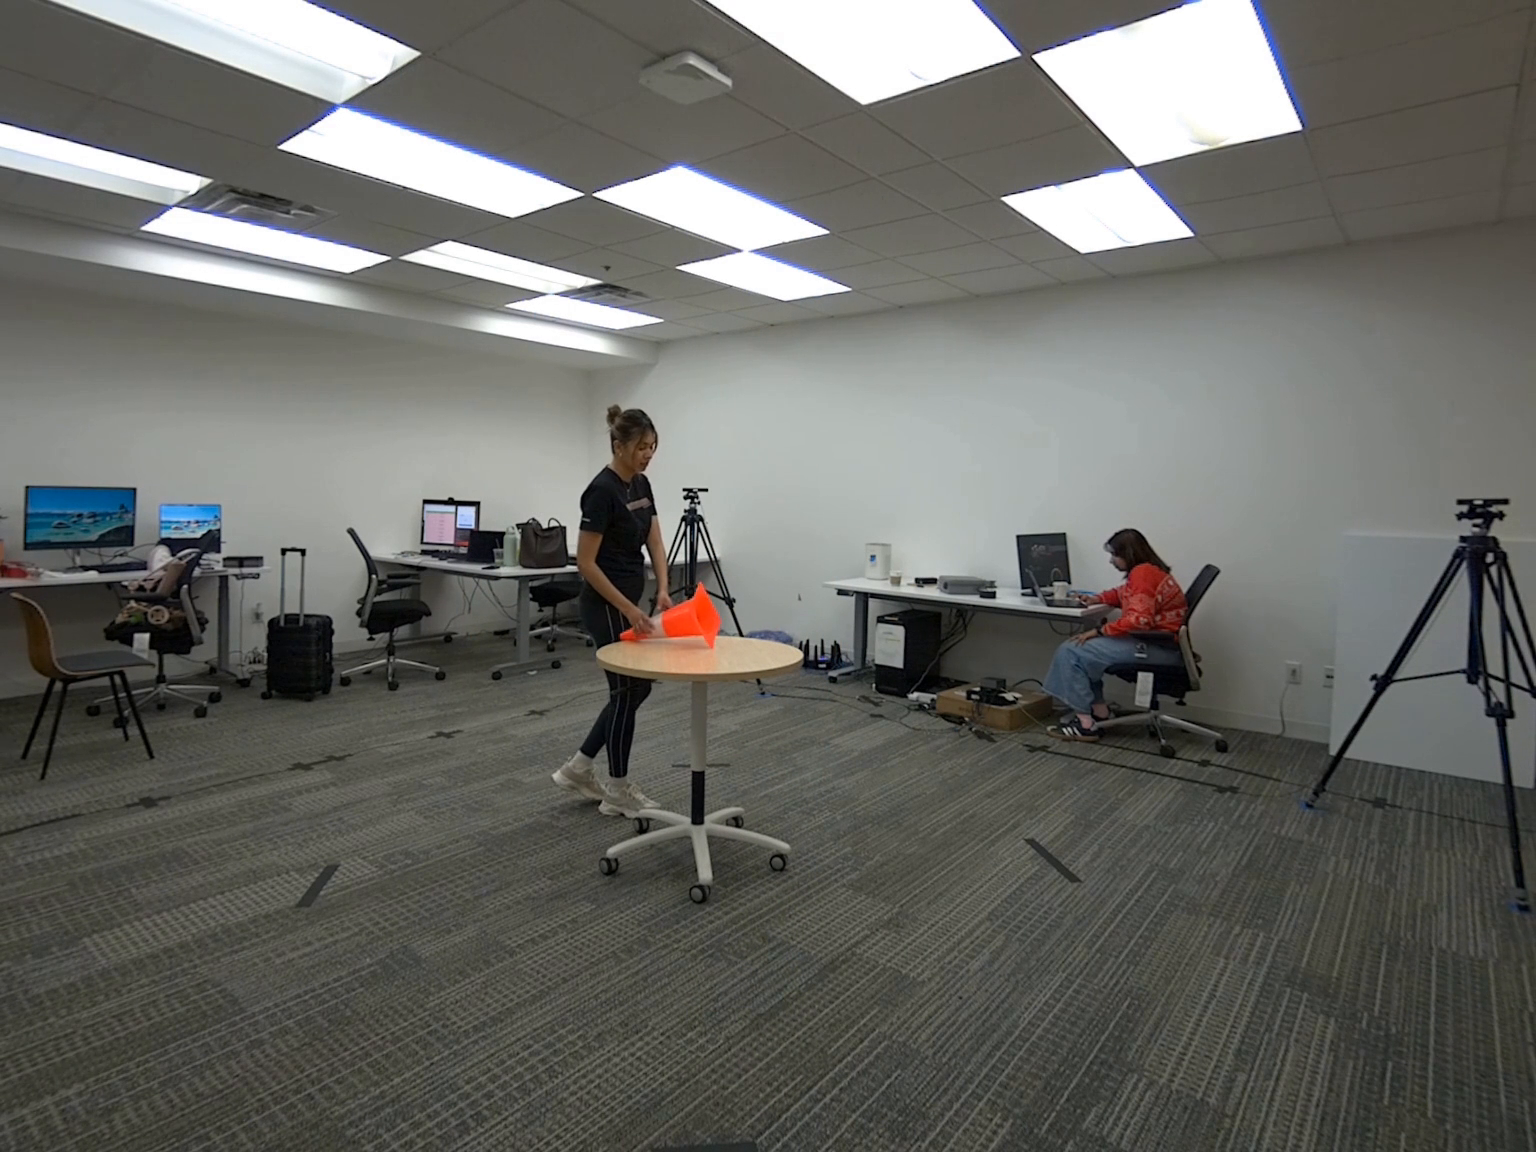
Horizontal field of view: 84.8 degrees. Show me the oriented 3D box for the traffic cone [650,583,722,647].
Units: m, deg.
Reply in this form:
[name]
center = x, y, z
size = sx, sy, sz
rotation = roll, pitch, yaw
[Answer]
[traffic cone]
center = -0.423, 0.202, 3.340
size = 0.389, 0.198, 0.208
rotation = -17, 25, 21
